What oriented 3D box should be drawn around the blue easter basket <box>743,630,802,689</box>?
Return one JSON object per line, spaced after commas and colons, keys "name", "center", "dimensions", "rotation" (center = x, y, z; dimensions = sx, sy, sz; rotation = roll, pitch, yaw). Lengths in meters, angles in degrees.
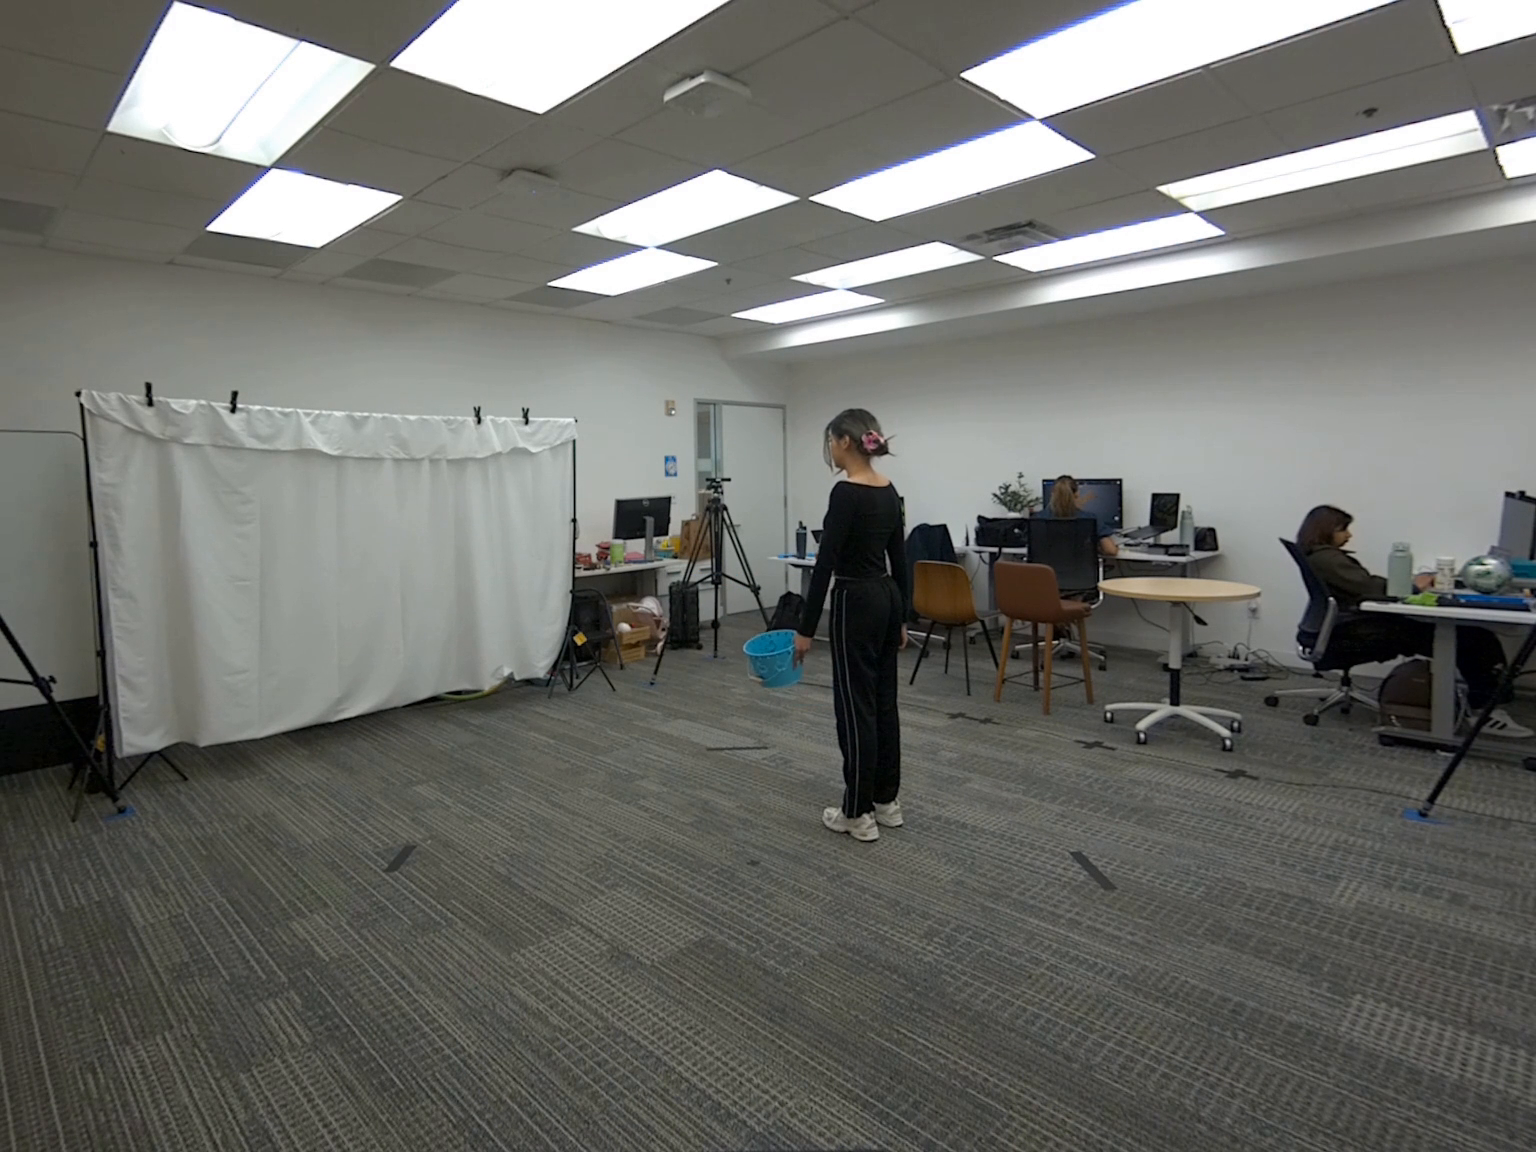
{"name": "blue easter basket", "center": [0.029, 0.324, 3.335], "dimensions": [0.244, 0.153, 0.247], "rotation": [-11, 16, 1]}
